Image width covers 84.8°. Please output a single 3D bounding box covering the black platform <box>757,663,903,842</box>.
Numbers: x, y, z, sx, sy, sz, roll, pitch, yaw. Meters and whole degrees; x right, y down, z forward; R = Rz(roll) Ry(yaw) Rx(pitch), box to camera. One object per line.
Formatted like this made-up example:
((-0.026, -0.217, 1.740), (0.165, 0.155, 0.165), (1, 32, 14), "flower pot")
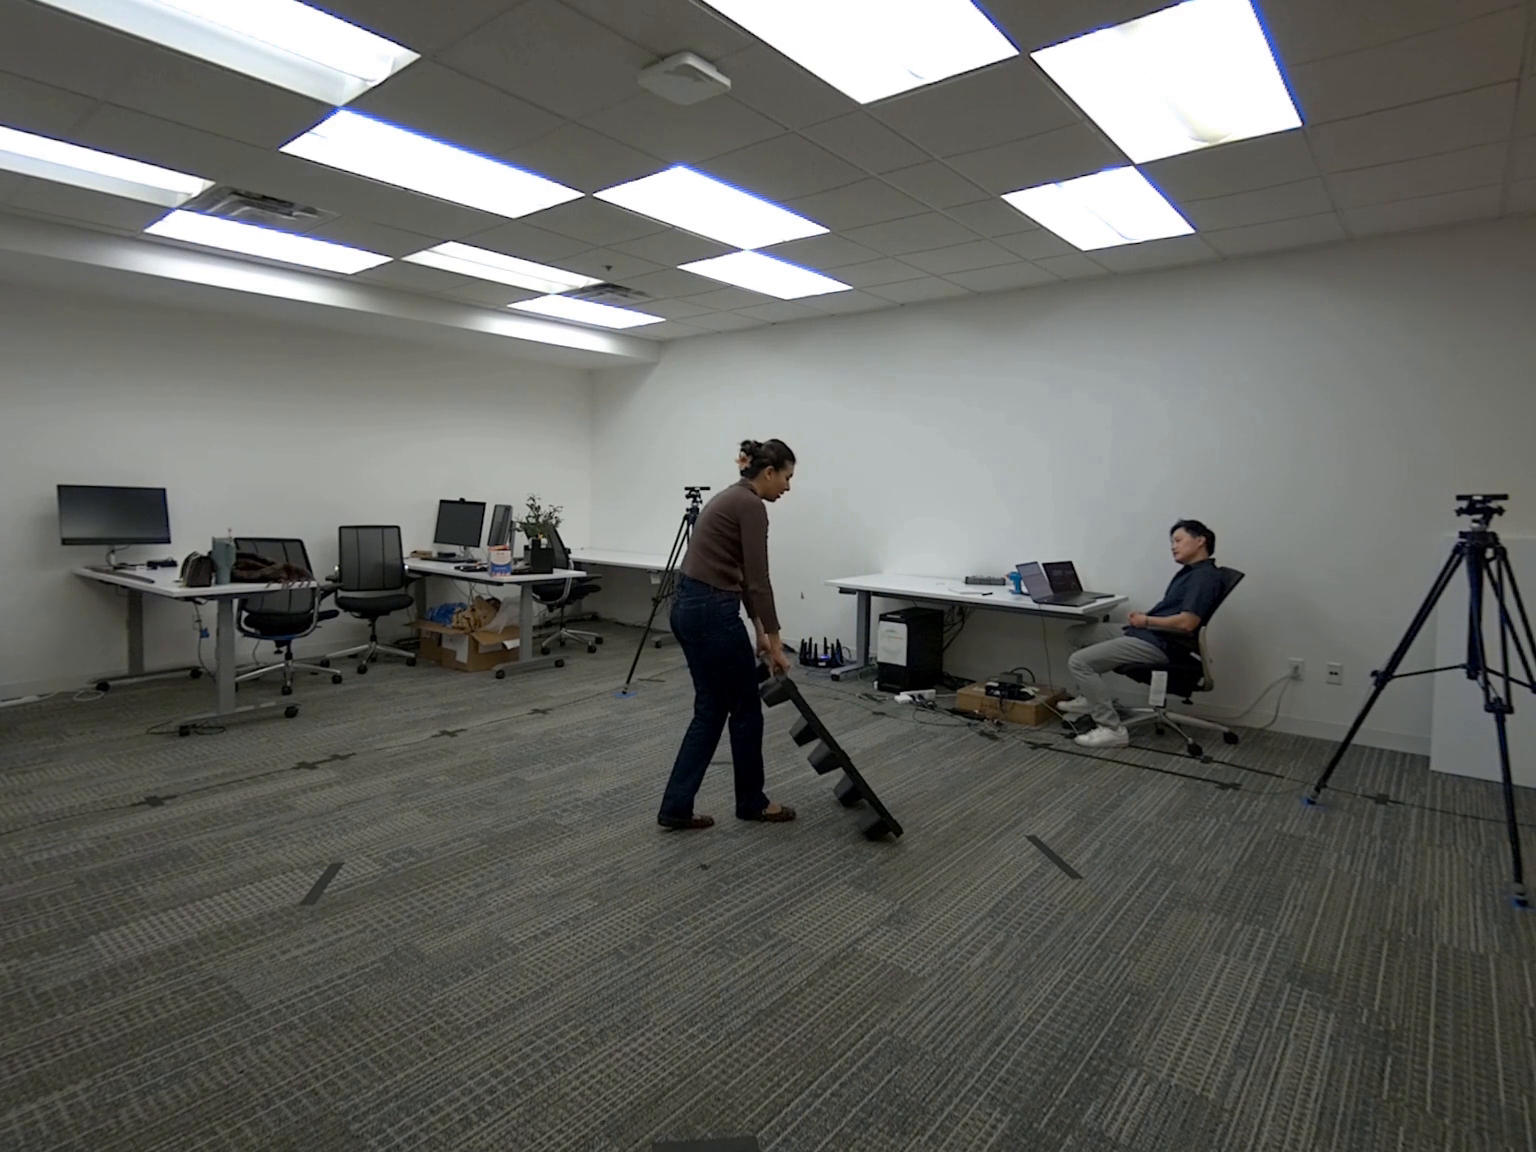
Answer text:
((0.192, 0.691, 3.580), (0.143, 0.799, 0.612), (-36, 7, -5), "black platform")
